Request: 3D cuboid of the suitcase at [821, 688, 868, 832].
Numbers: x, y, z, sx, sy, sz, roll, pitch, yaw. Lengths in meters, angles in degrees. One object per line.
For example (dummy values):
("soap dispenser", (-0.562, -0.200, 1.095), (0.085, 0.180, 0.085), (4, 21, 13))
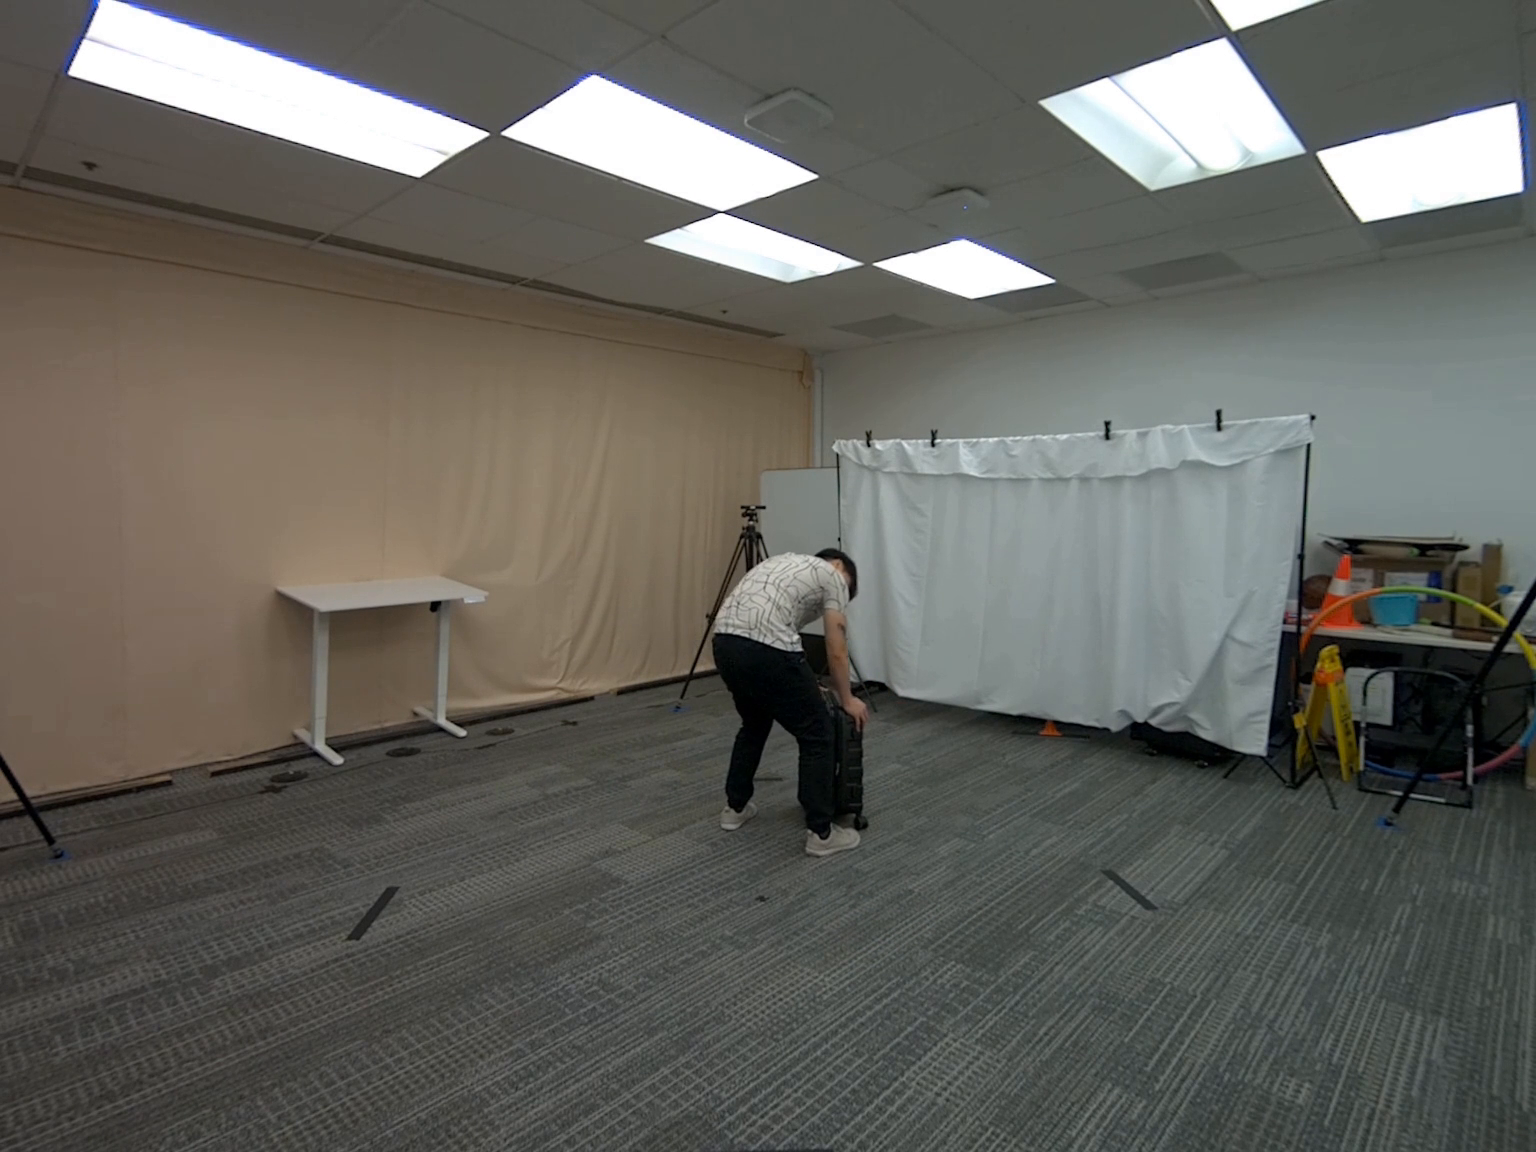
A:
("suitcase", (0.290, 0.807, 3.789), (0.248, 0.549, 0.376), (1, 2, -2))
